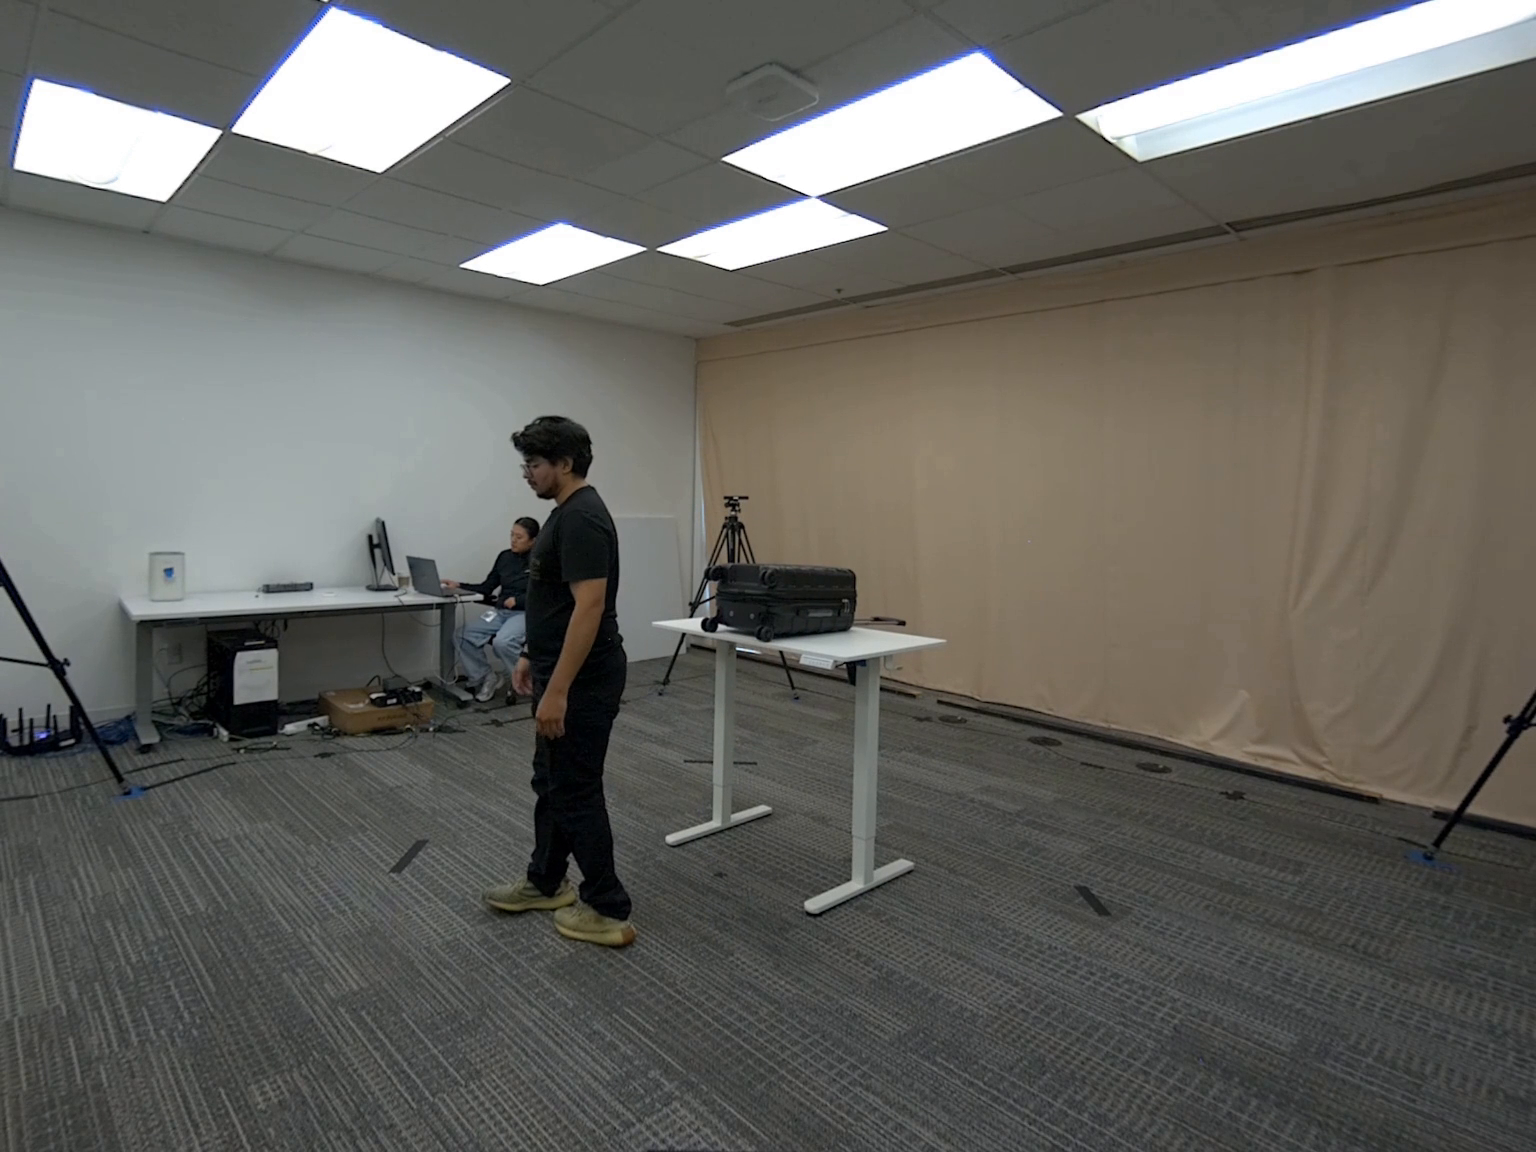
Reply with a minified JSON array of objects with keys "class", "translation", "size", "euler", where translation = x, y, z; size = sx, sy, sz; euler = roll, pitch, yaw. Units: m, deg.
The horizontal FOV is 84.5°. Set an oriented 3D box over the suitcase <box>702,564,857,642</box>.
[{"class":"suitcase","translation":[0.205,0.087,3.375],"size":[0.956,0.257,0.393],"euler":[-1,3,-44]}]
